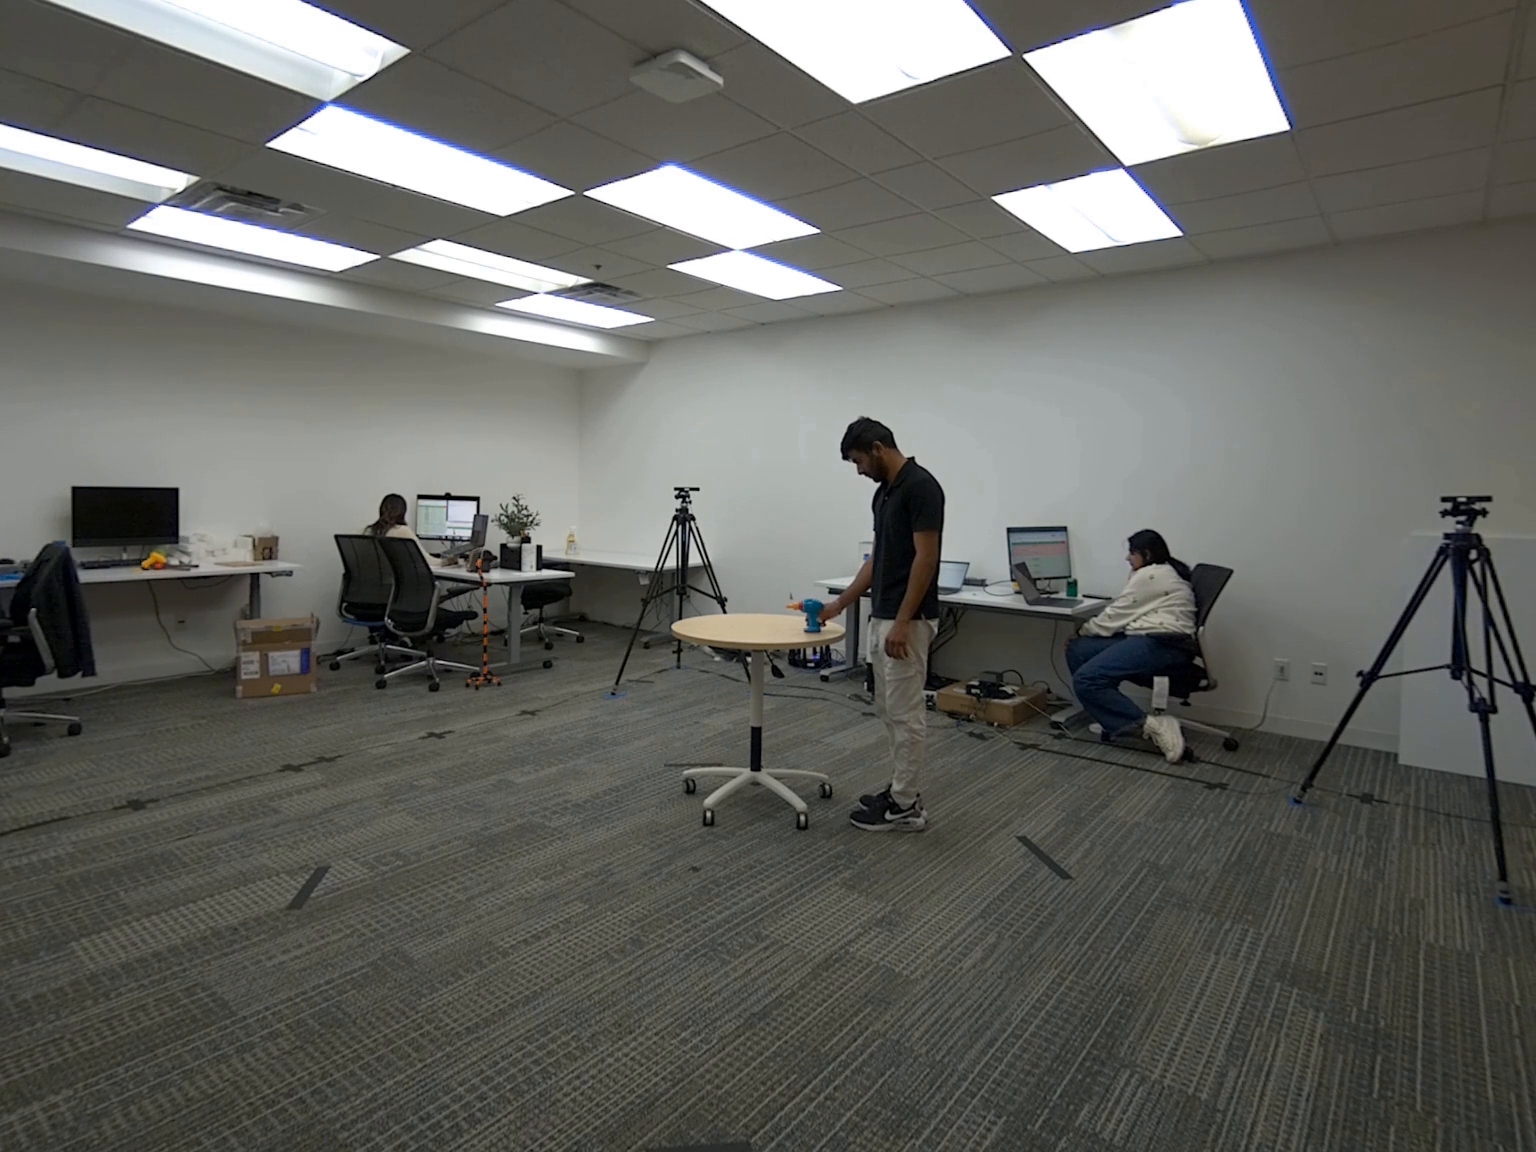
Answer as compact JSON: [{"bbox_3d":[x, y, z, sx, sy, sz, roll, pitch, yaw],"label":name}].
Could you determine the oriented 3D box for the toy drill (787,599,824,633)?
[{"bbox_3d":[0.148,0.164,3.650,0.168,0.145,0.062,1,7,-10],"label":"toy drill"}]
